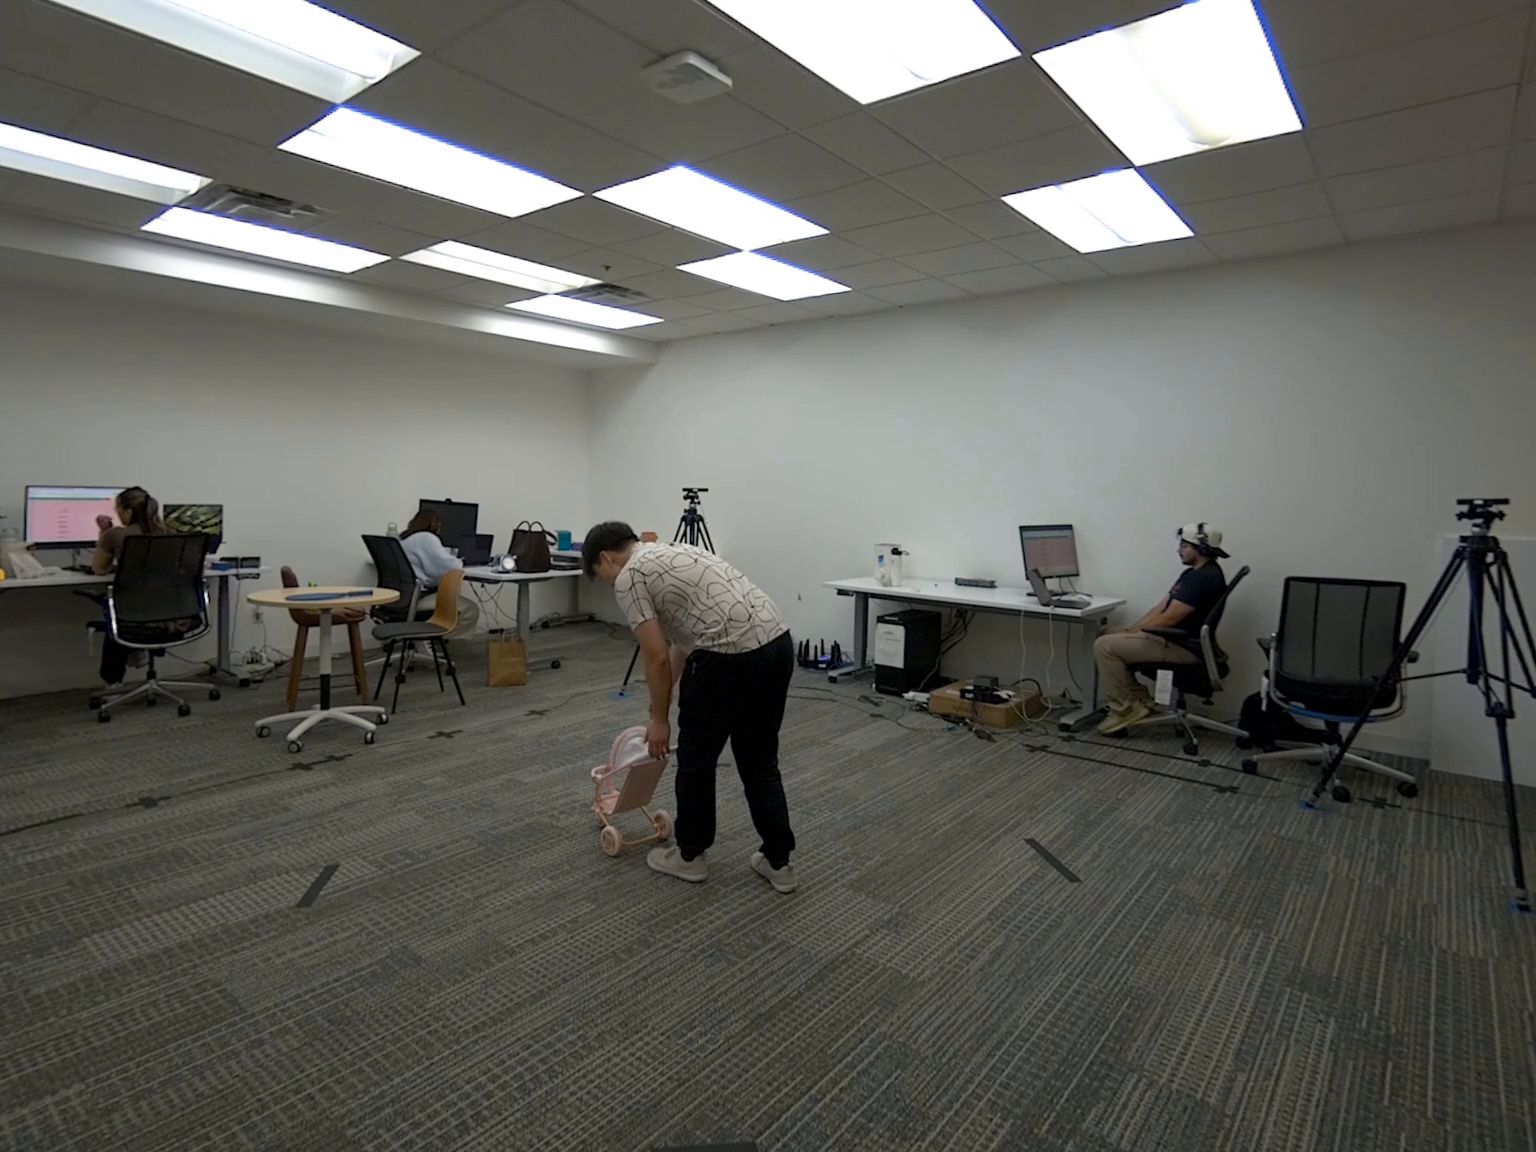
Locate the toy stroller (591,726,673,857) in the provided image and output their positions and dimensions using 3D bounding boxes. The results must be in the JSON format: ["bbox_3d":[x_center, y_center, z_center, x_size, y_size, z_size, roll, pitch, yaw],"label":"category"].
[{"bbox_3d":[-0.557,0.818,3.333,0.273,0.529,0.356,-1,21,-40],"label":"toy stroller"}]
